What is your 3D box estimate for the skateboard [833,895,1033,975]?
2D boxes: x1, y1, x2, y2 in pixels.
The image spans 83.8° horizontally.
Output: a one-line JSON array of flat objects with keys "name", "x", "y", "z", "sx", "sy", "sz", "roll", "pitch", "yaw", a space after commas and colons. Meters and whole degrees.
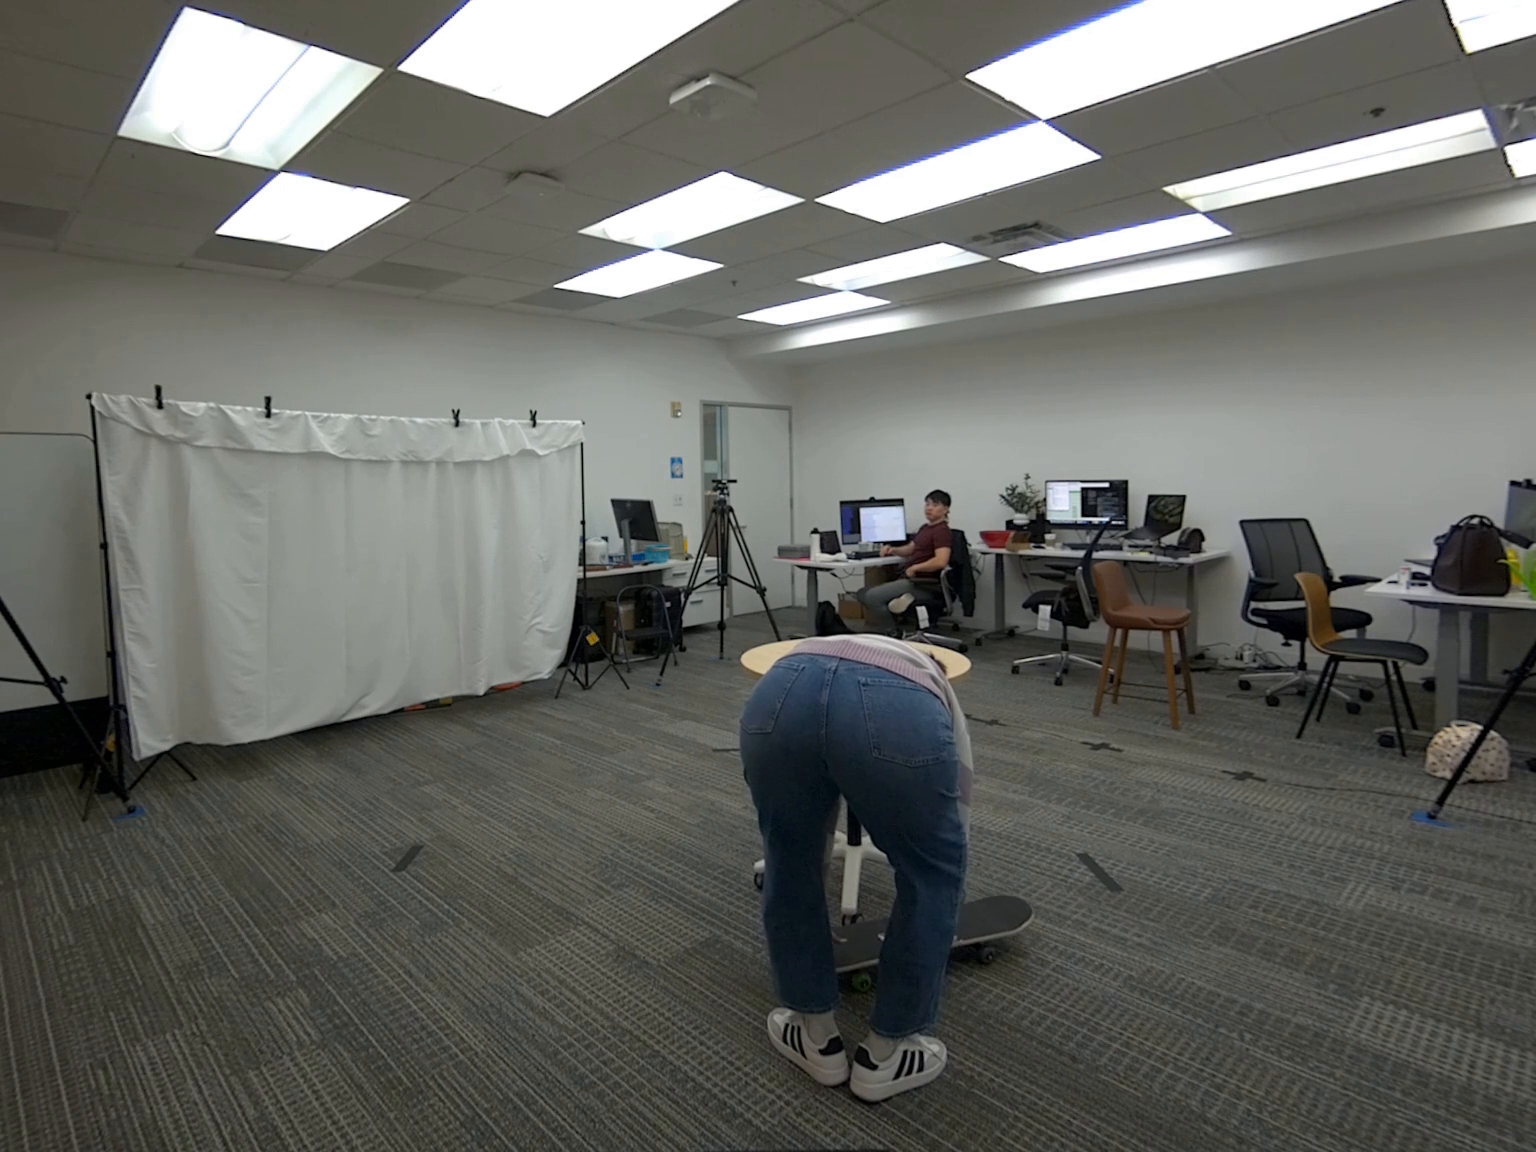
[{"name": "skateboard", "x": 0.413, "y": 1.051, "z": 2.468, "sx": 0.772, "sy": 0.110, "sz": 0.197, "roll": -4, "pitch": 6, "yaw": -19}]
